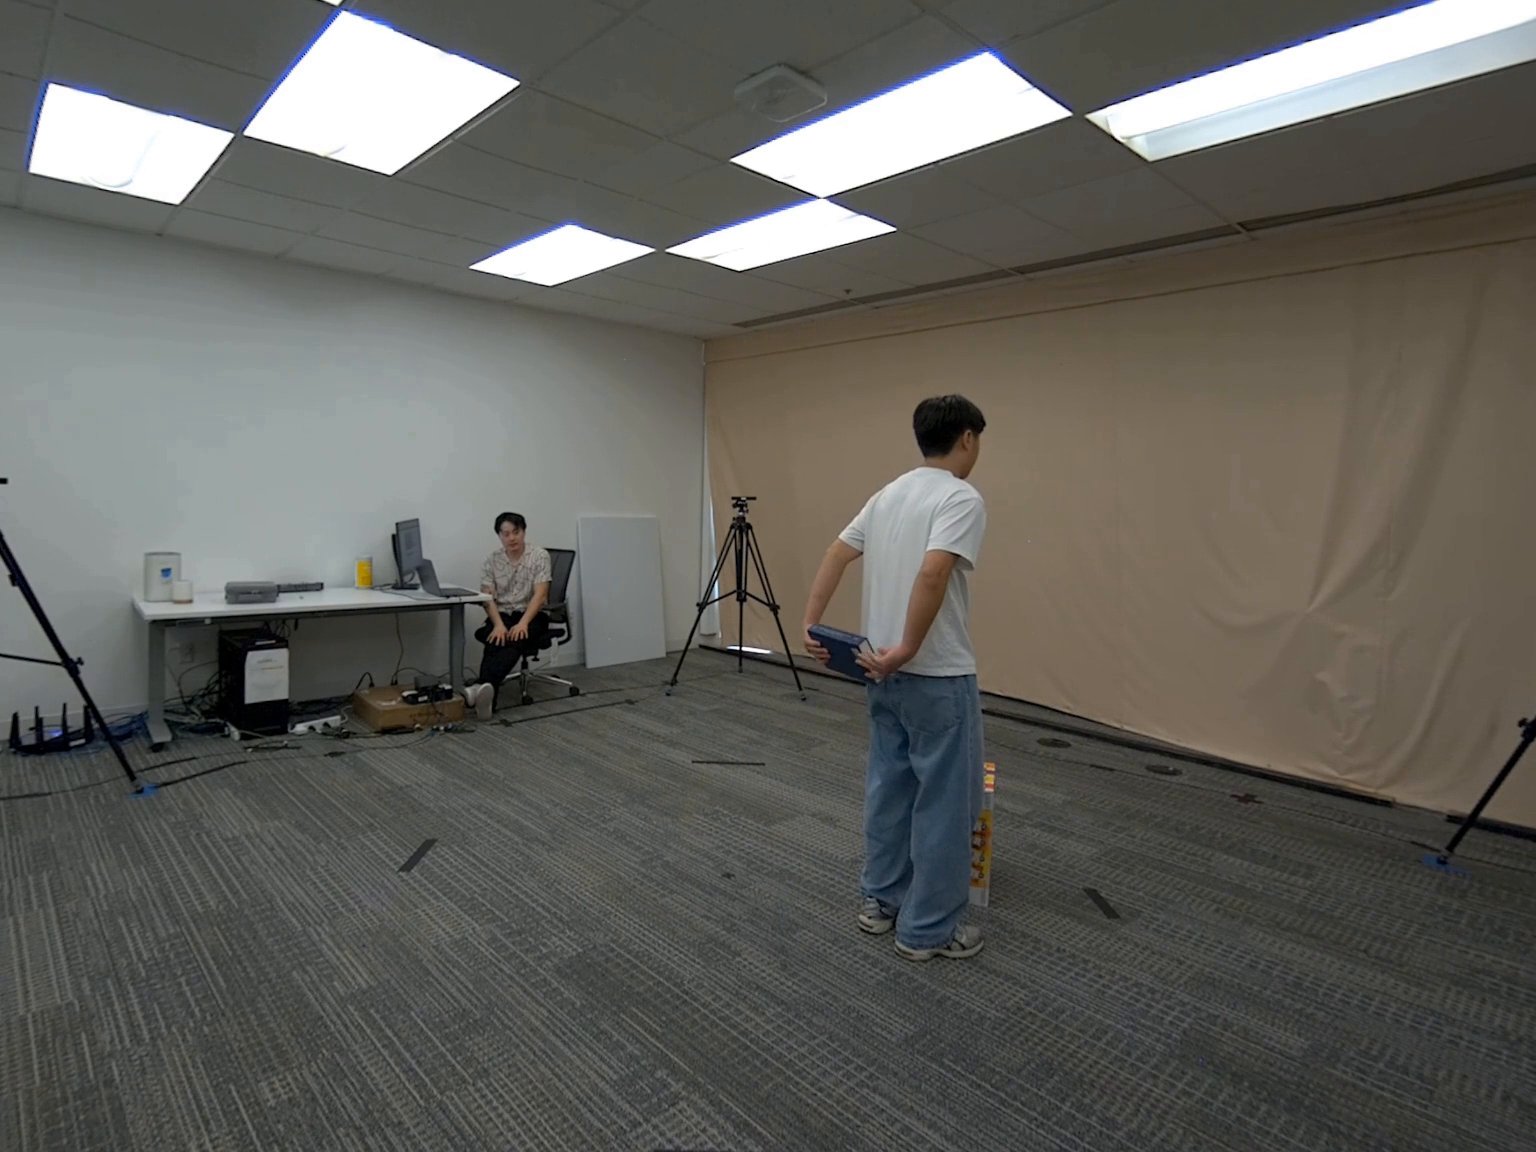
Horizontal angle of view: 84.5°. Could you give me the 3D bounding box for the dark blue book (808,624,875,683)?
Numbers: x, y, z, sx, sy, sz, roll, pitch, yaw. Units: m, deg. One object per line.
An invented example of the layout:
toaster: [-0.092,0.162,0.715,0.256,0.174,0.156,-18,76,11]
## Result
dark blue book: [0.238,0.244,2.654,0.045,0.160,0.251,-40,27,-24]
